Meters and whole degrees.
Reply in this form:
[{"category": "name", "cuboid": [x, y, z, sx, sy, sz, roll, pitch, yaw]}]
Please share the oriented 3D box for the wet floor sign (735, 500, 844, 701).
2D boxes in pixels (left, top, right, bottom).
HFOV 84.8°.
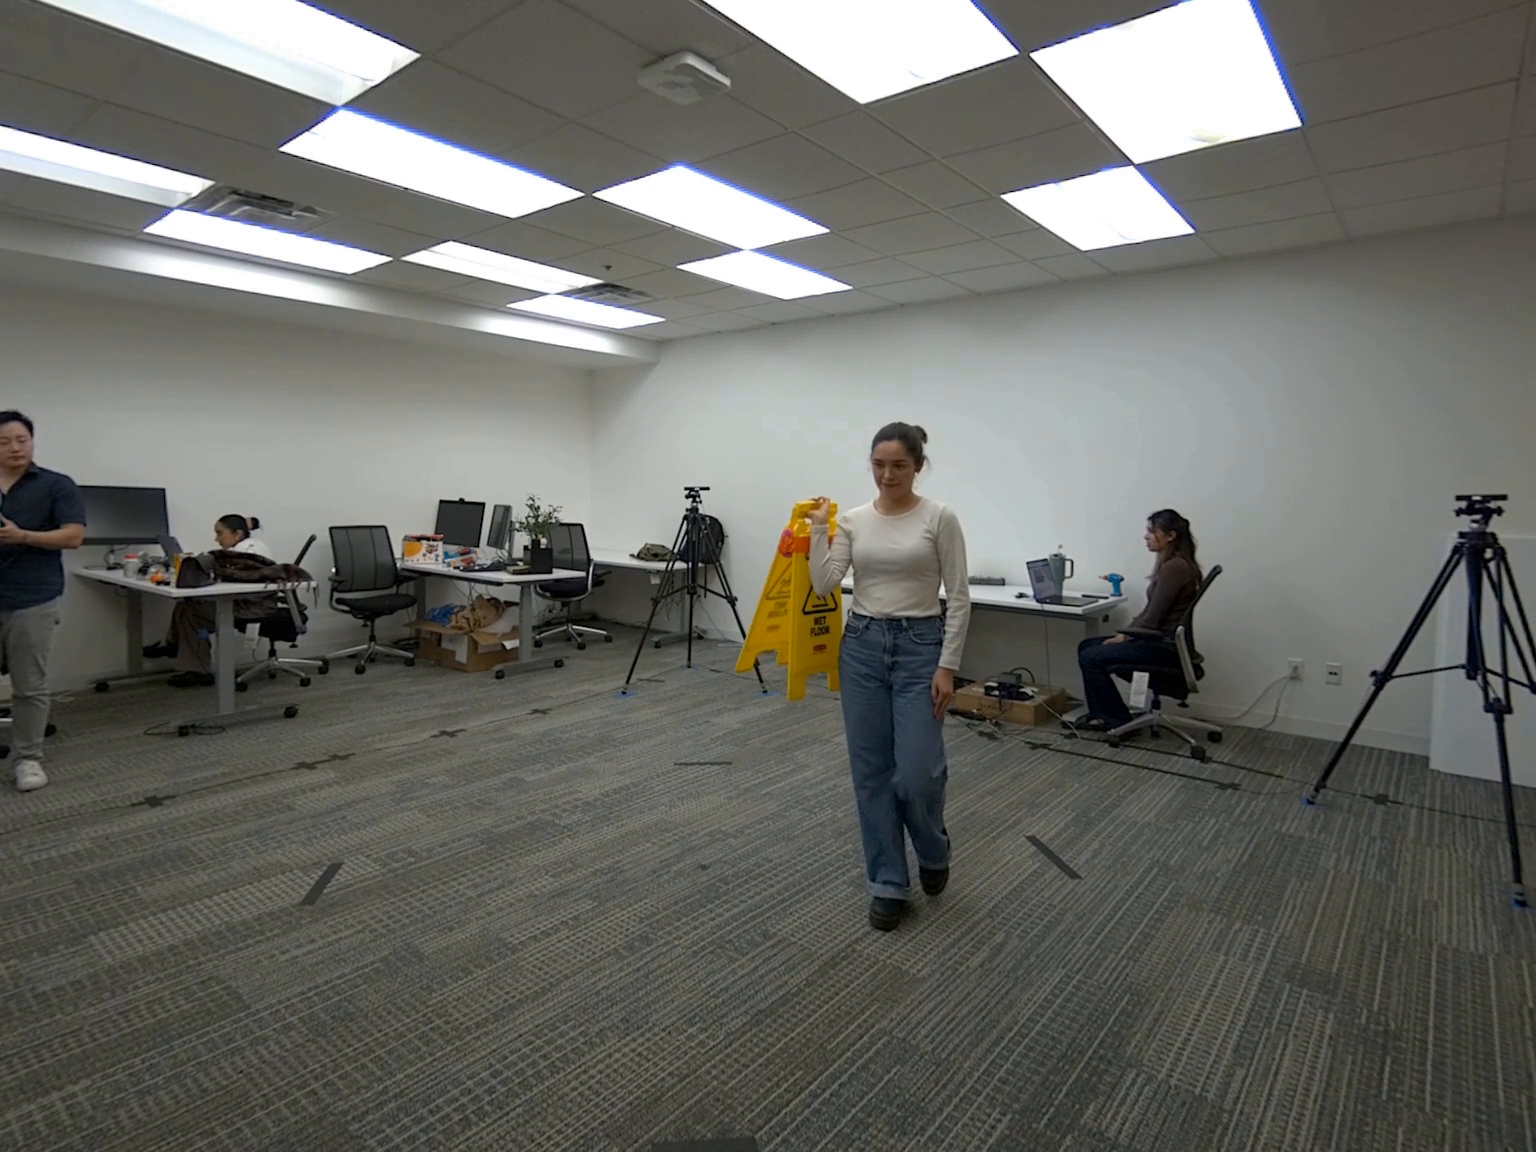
[{"category": "wet floor sign", "cuboid": [0.116, 0.058, 2.944, 0.274, 0.640, 0.301, -5, 17, -45]}]
